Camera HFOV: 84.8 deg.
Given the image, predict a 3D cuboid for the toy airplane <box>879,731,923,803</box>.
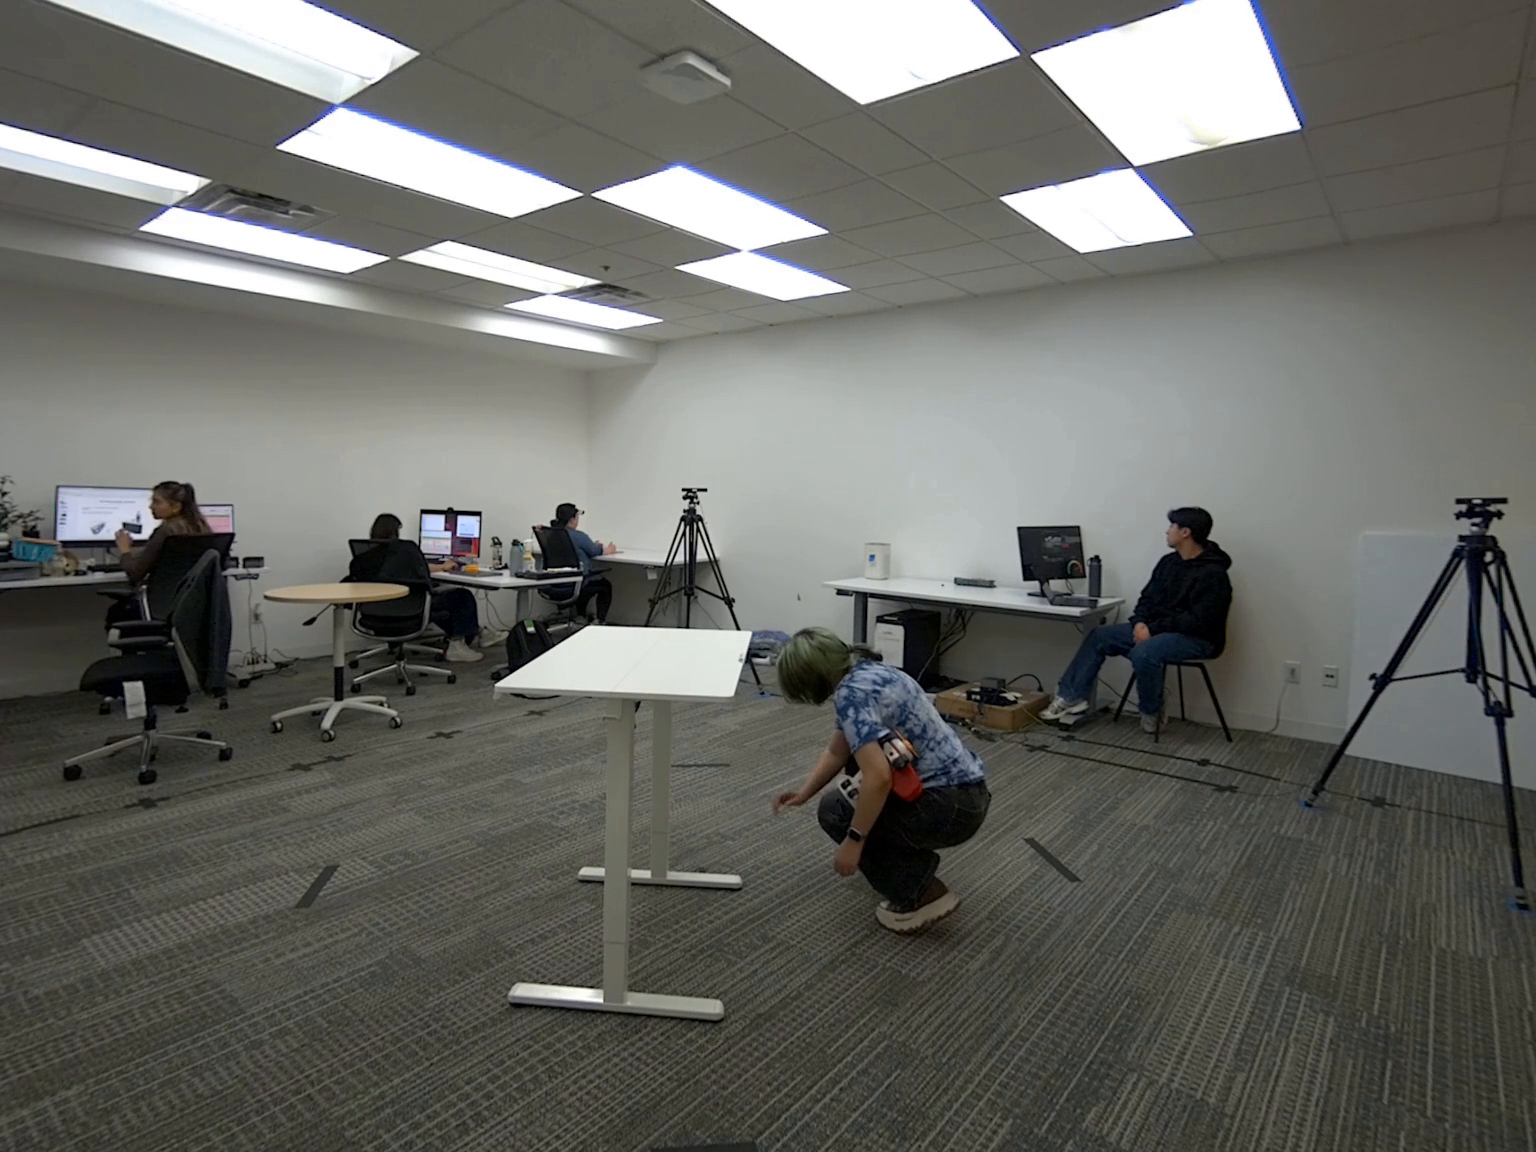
[{"bbox_3d":[0.331,0.594,2.671,0.263,0.257,0.150,-21,-23,23],"label":"toy airplane"}]
